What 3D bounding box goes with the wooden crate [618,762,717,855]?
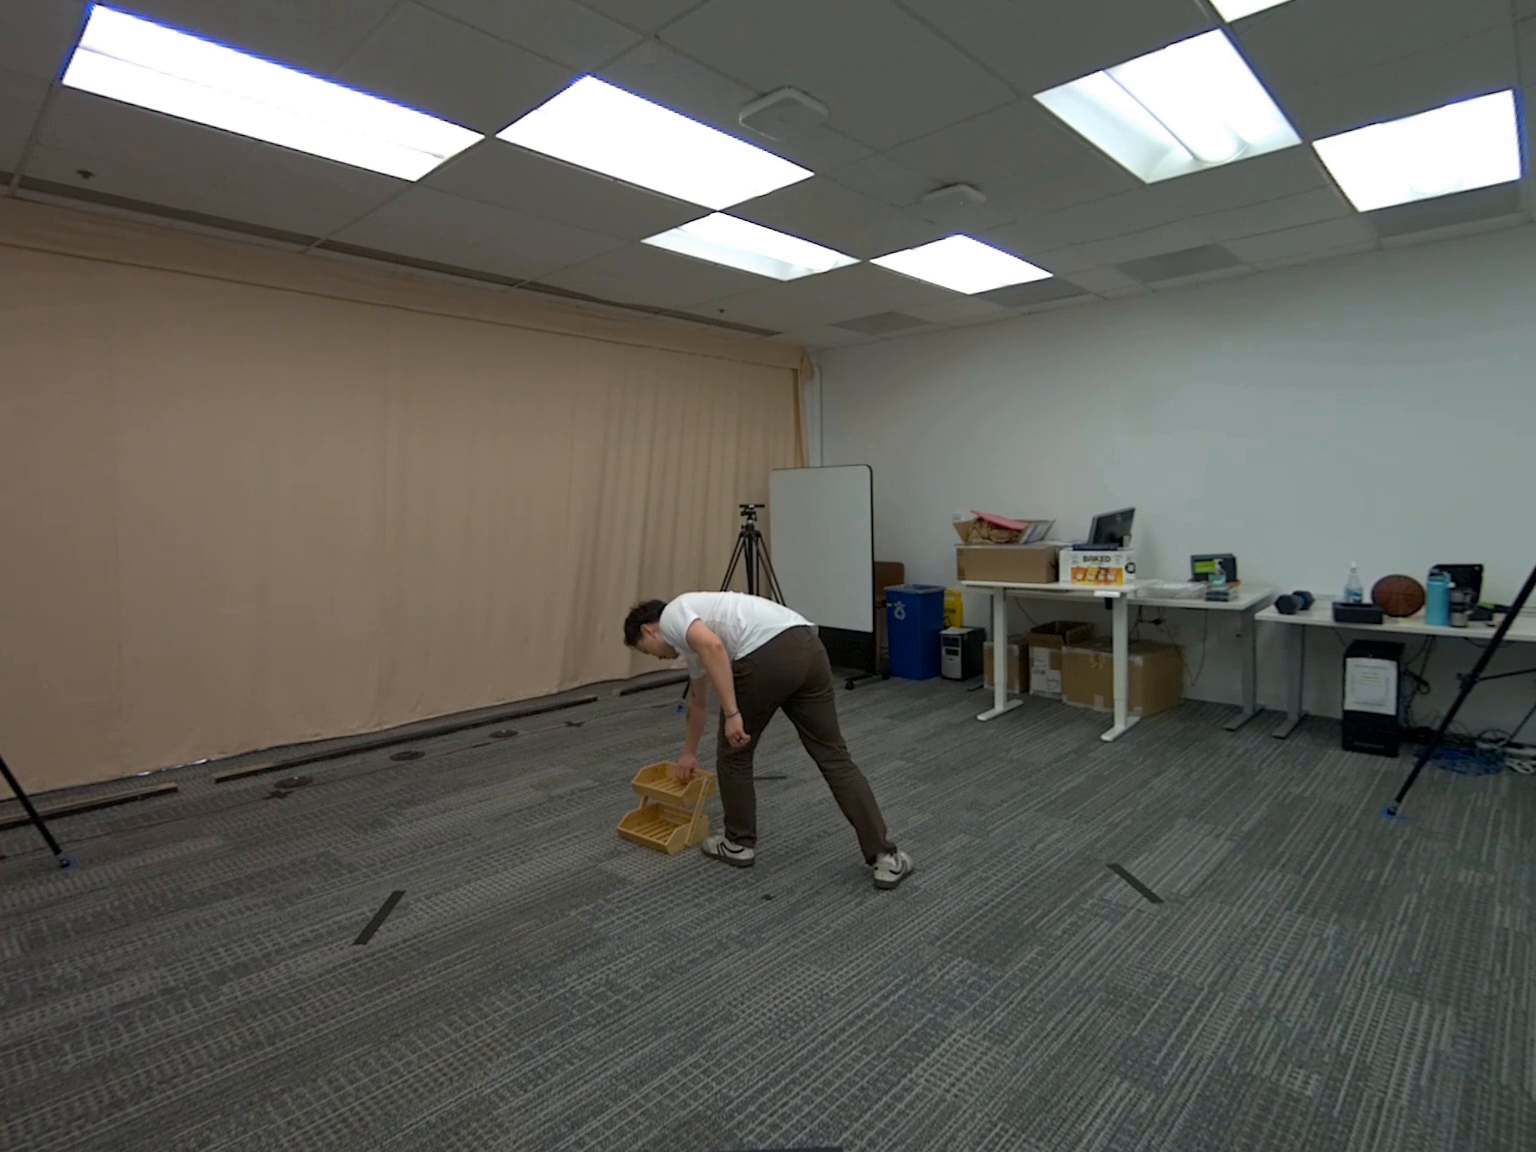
[{"bbox_3d":[-0.428,0.965,3.551,0.335,0.273,0.293,2,4,40],"label":"wooden crate"}]
